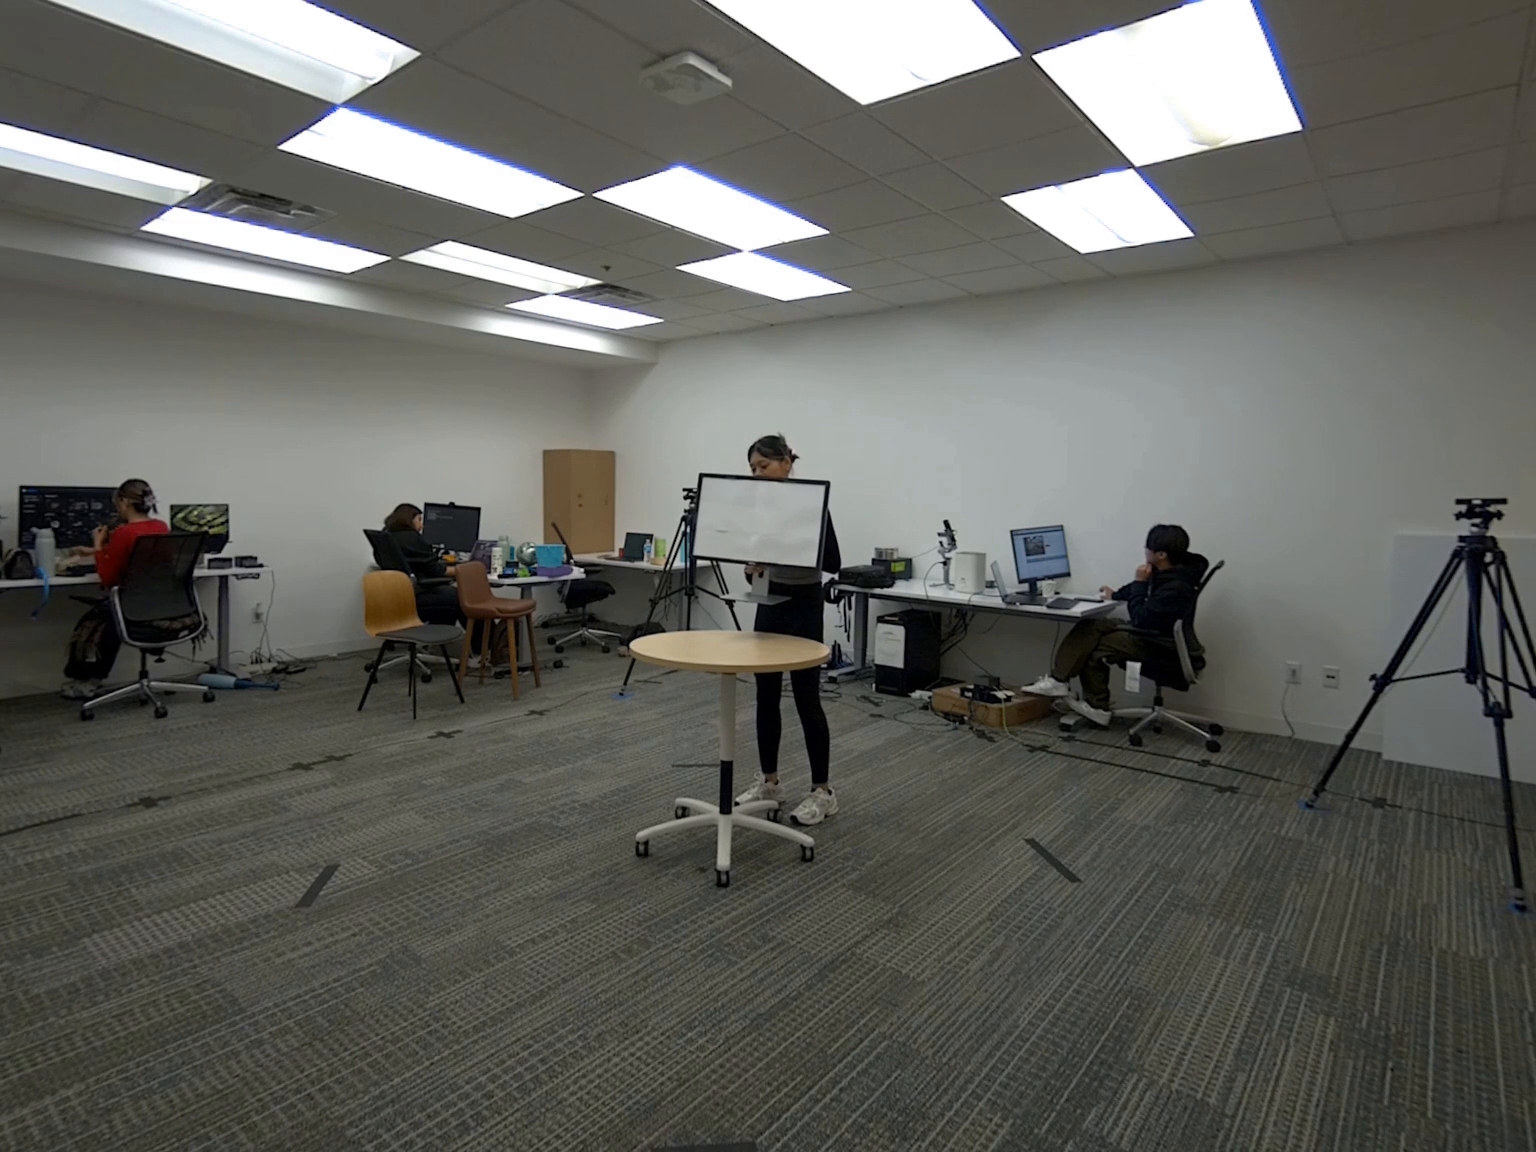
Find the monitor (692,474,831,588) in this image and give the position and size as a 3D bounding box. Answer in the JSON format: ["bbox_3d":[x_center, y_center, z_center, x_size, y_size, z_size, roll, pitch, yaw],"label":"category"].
[{"bbox_3d":[-0.044,-0.150,3.491,0.550,0.519,0.184,5,7,18],"label":"monitor"}]
